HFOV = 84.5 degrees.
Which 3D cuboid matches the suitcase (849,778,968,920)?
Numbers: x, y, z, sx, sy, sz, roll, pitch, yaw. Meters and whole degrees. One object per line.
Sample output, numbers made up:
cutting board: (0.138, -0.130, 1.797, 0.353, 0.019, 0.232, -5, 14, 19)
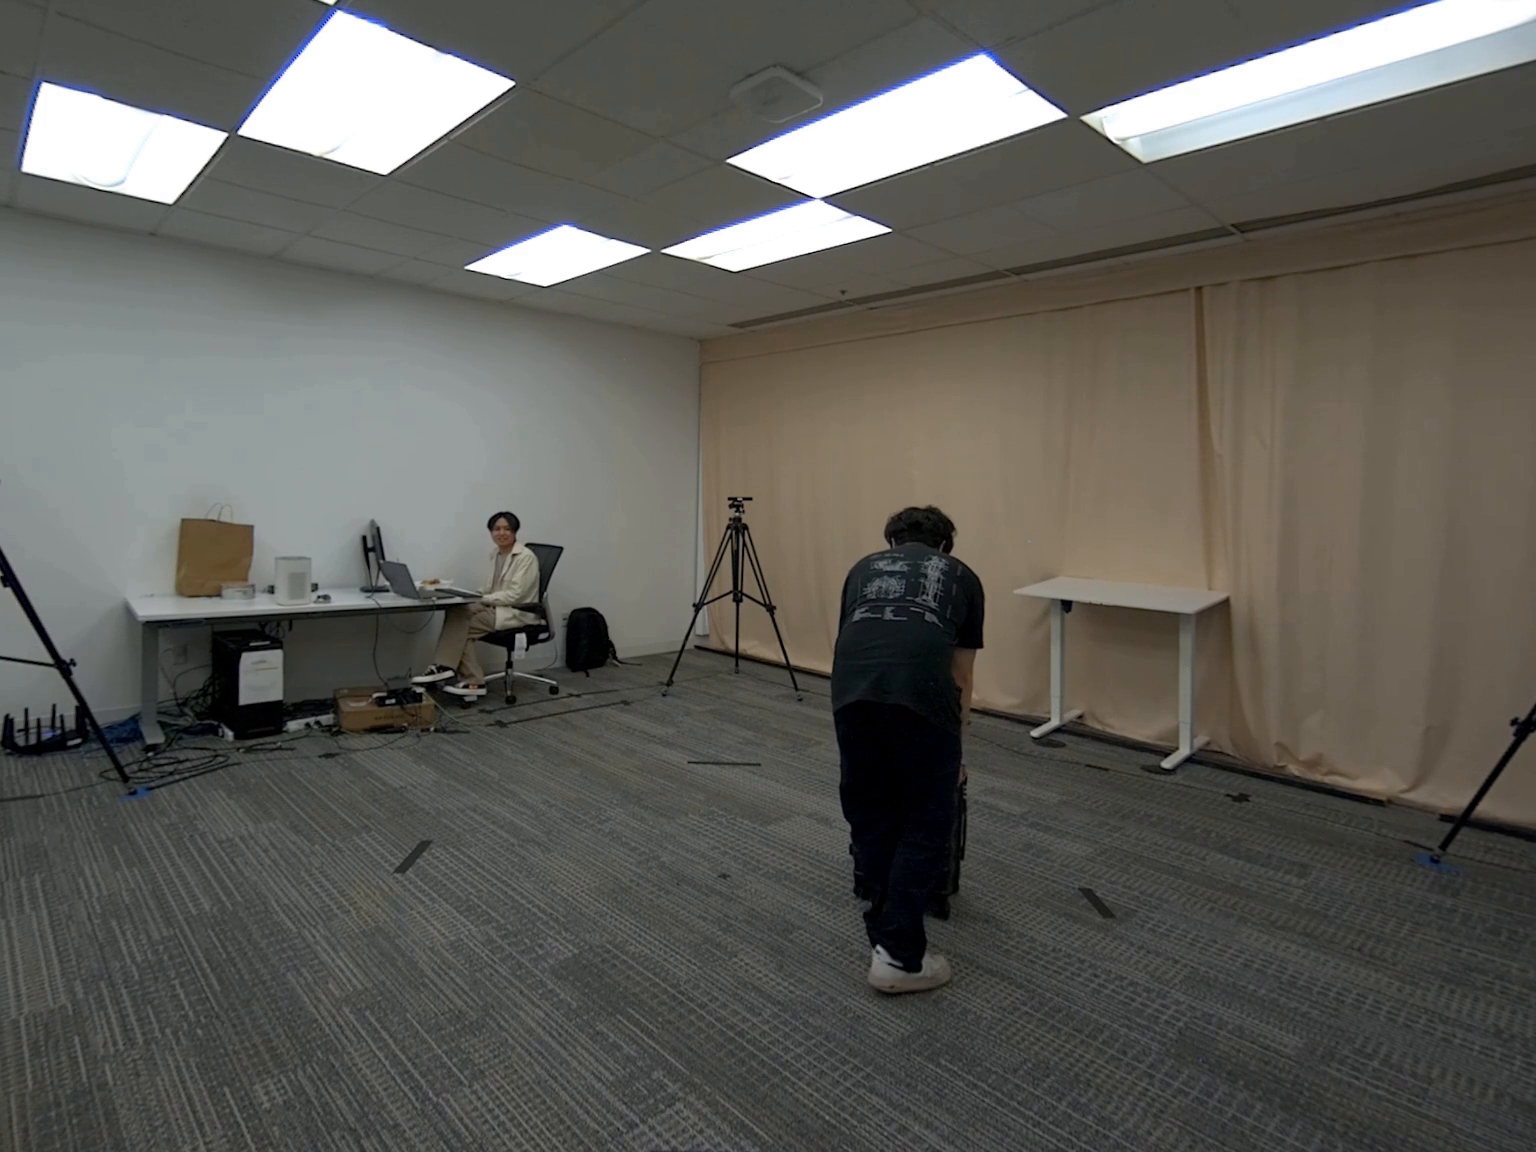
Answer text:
suitcase: (0.495, 0.865, 2.955, 0.383, 0.547, 0.244, 4, 5, 25)
